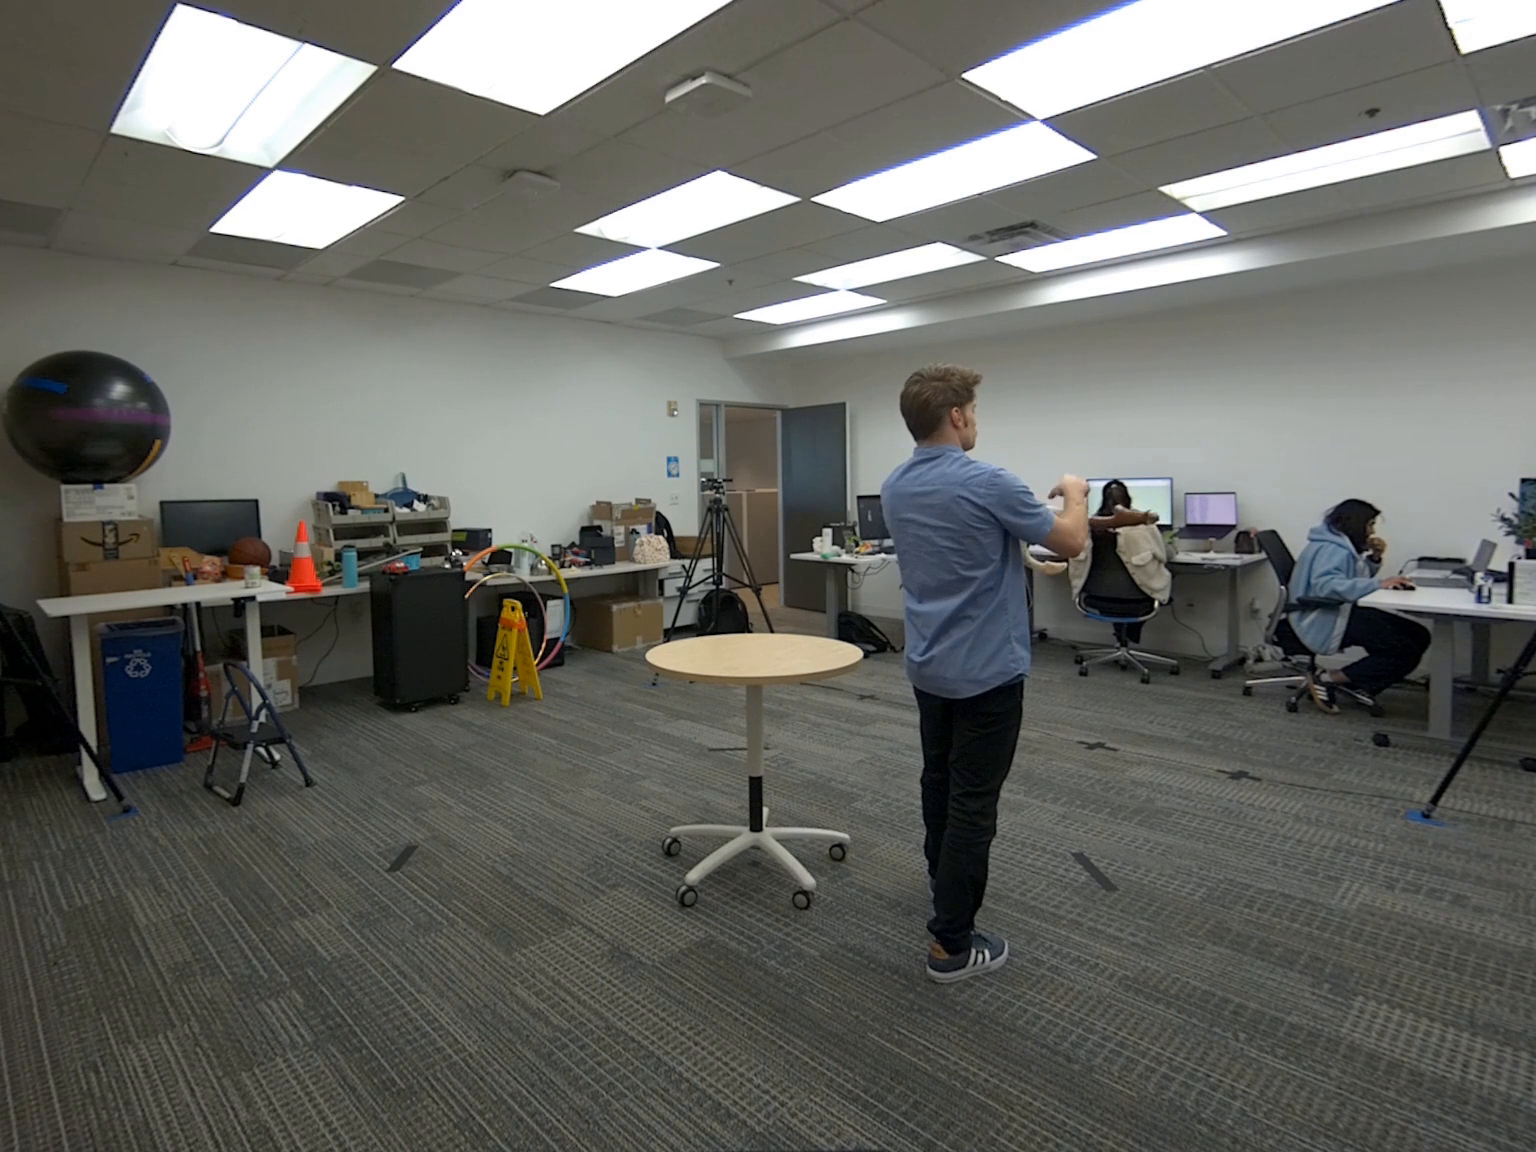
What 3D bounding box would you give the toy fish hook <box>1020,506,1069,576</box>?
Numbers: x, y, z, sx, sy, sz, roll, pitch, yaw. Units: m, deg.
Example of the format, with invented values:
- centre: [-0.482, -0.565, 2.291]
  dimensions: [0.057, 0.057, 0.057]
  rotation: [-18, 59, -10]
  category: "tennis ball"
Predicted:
- centre: [0.978, -0.118, 2.633]
  dimensions: [0.047, 0.223, 0.520]
  rotation: [-14, 7, -35]
  category: "toy fish hook"
